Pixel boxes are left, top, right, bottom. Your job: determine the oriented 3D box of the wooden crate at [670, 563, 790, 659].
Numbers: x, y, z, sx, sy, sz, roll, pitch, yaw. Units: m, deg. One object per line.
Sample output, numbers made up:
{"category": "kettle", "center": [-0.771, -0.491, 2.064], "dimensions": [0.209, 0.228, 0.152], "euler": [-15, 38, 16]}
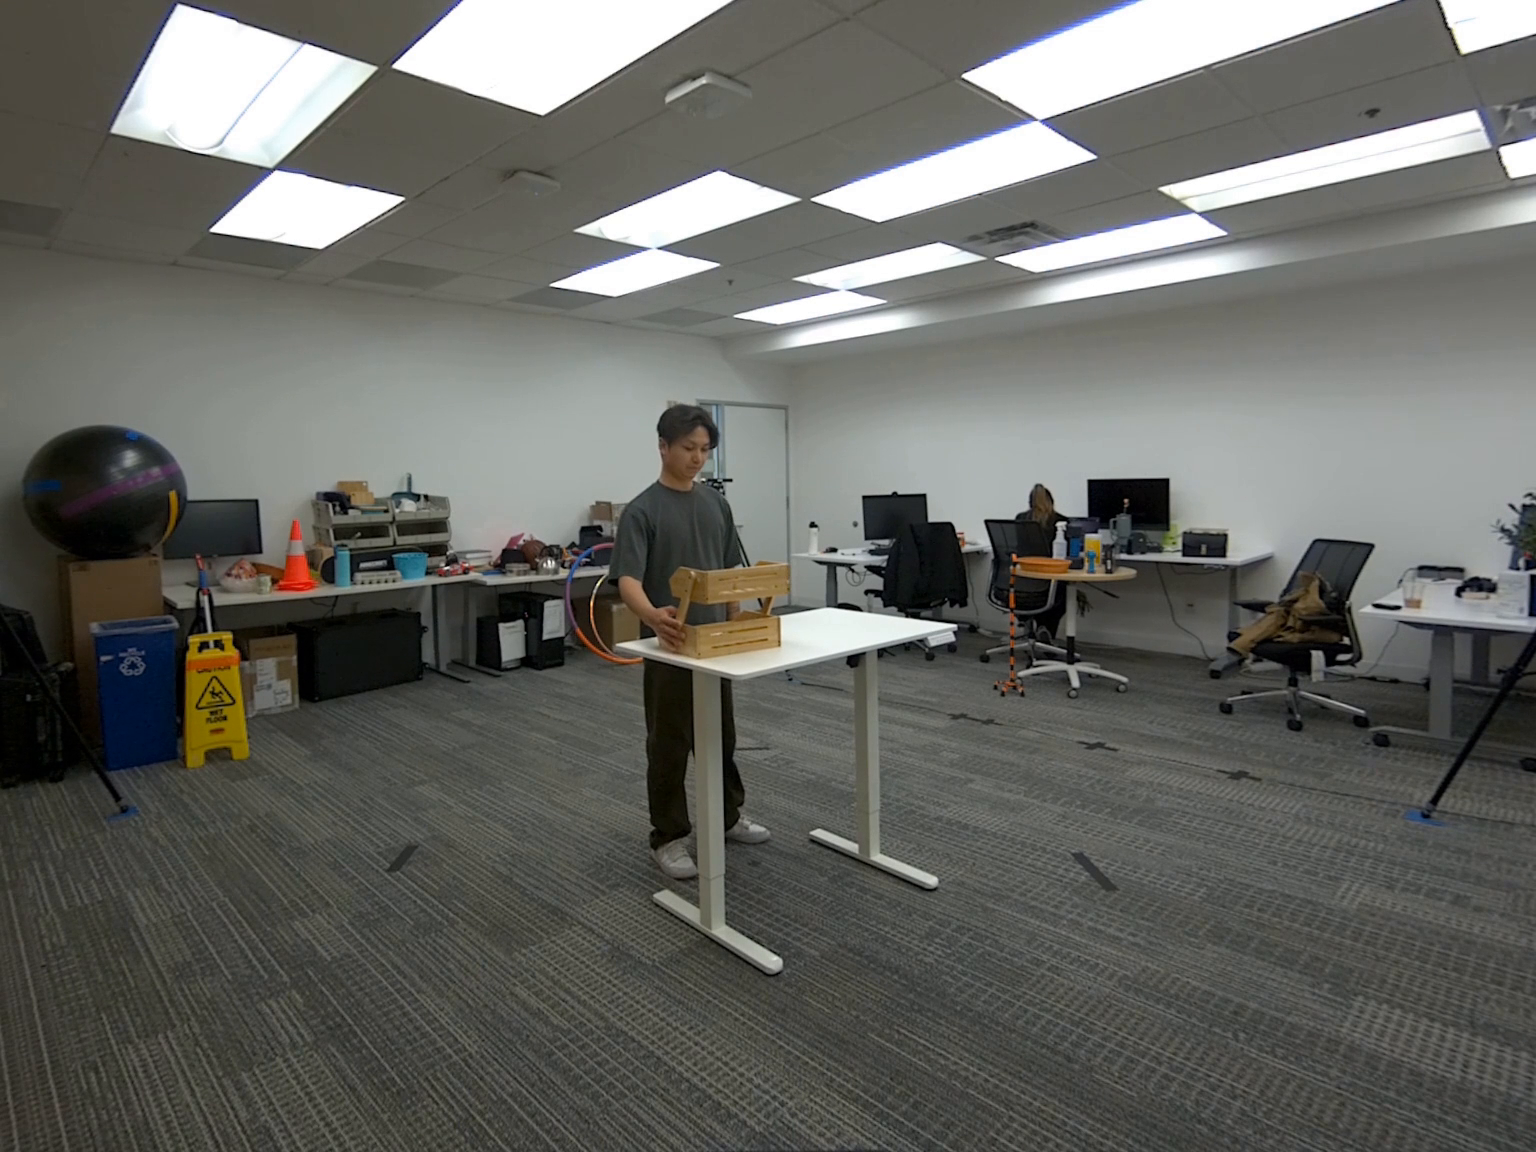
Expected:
{"category": "wooden crate", "center": [-0.136, 0.091, 2.615], "dimensions": [0.316, 0.272, 0.311], "euler": [-5, 7, -35]}
